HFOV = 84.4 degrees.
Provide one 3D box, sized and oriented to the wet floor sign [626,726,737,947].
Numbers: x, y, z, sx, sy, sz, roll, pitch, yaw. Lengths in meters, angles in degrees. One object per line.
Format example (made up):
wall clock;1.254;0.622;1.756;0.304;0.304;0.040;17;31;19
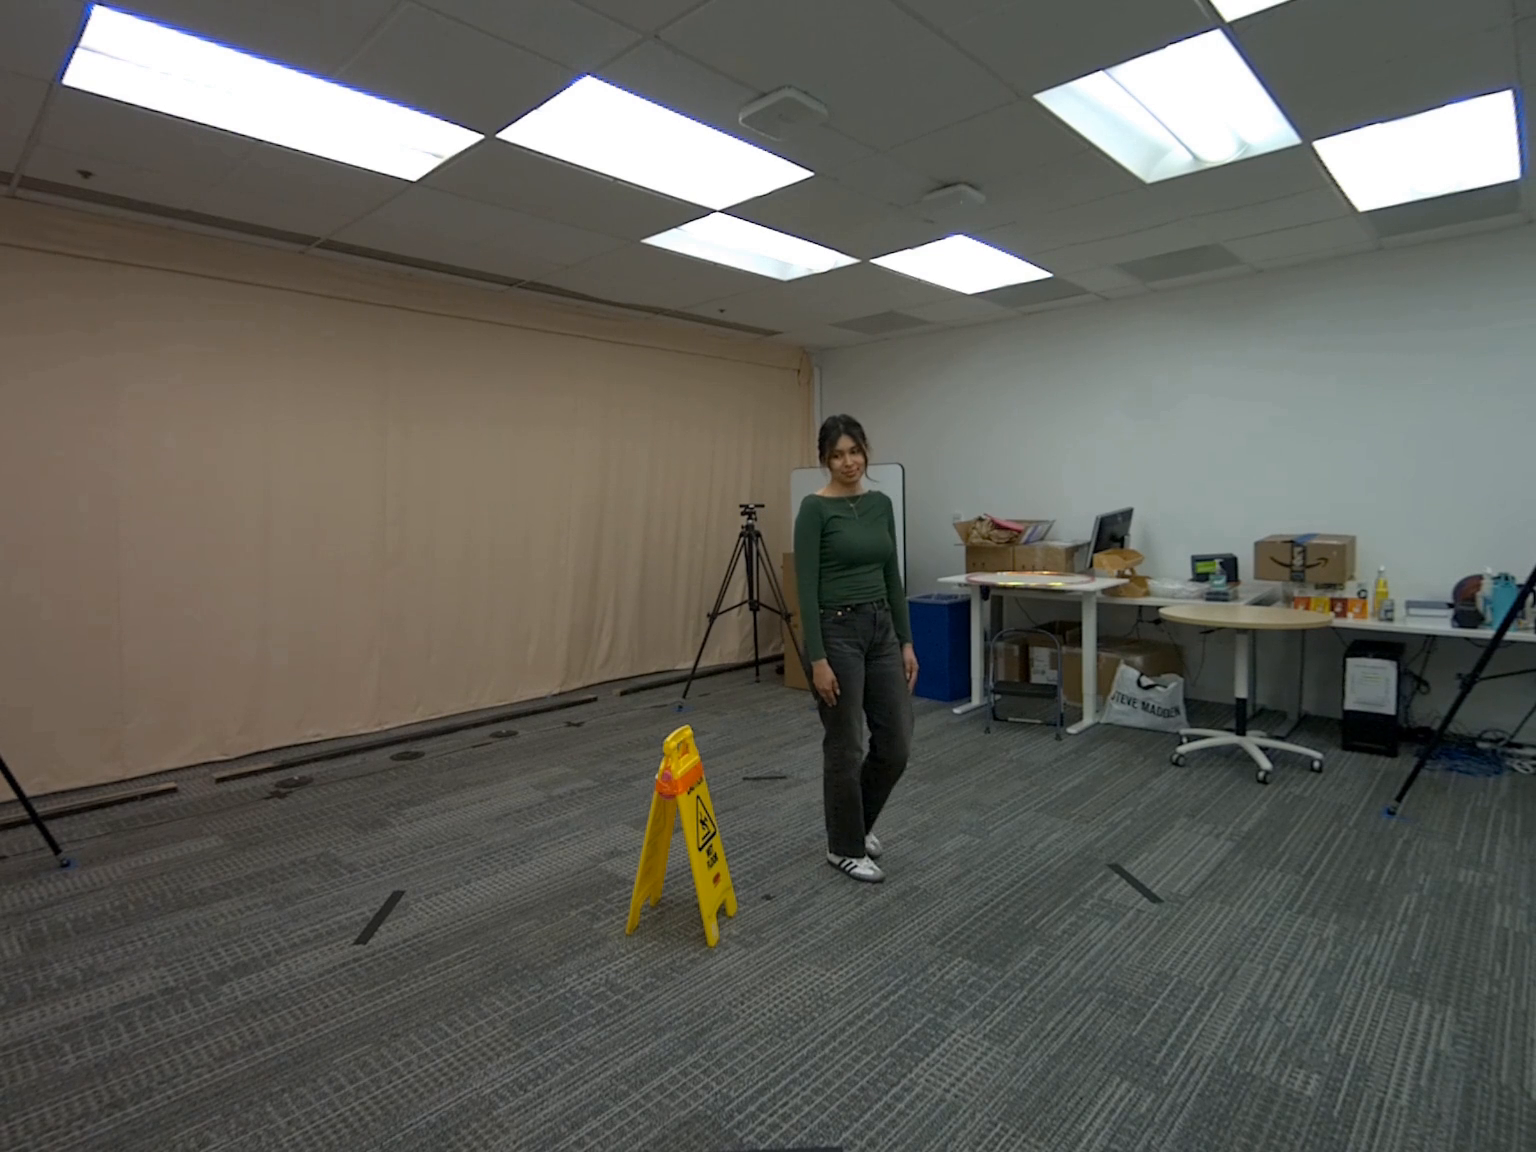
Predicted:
wet floor sign;-0.287;0.839;2.802;0.295;0.644;0.278;0;4;17
